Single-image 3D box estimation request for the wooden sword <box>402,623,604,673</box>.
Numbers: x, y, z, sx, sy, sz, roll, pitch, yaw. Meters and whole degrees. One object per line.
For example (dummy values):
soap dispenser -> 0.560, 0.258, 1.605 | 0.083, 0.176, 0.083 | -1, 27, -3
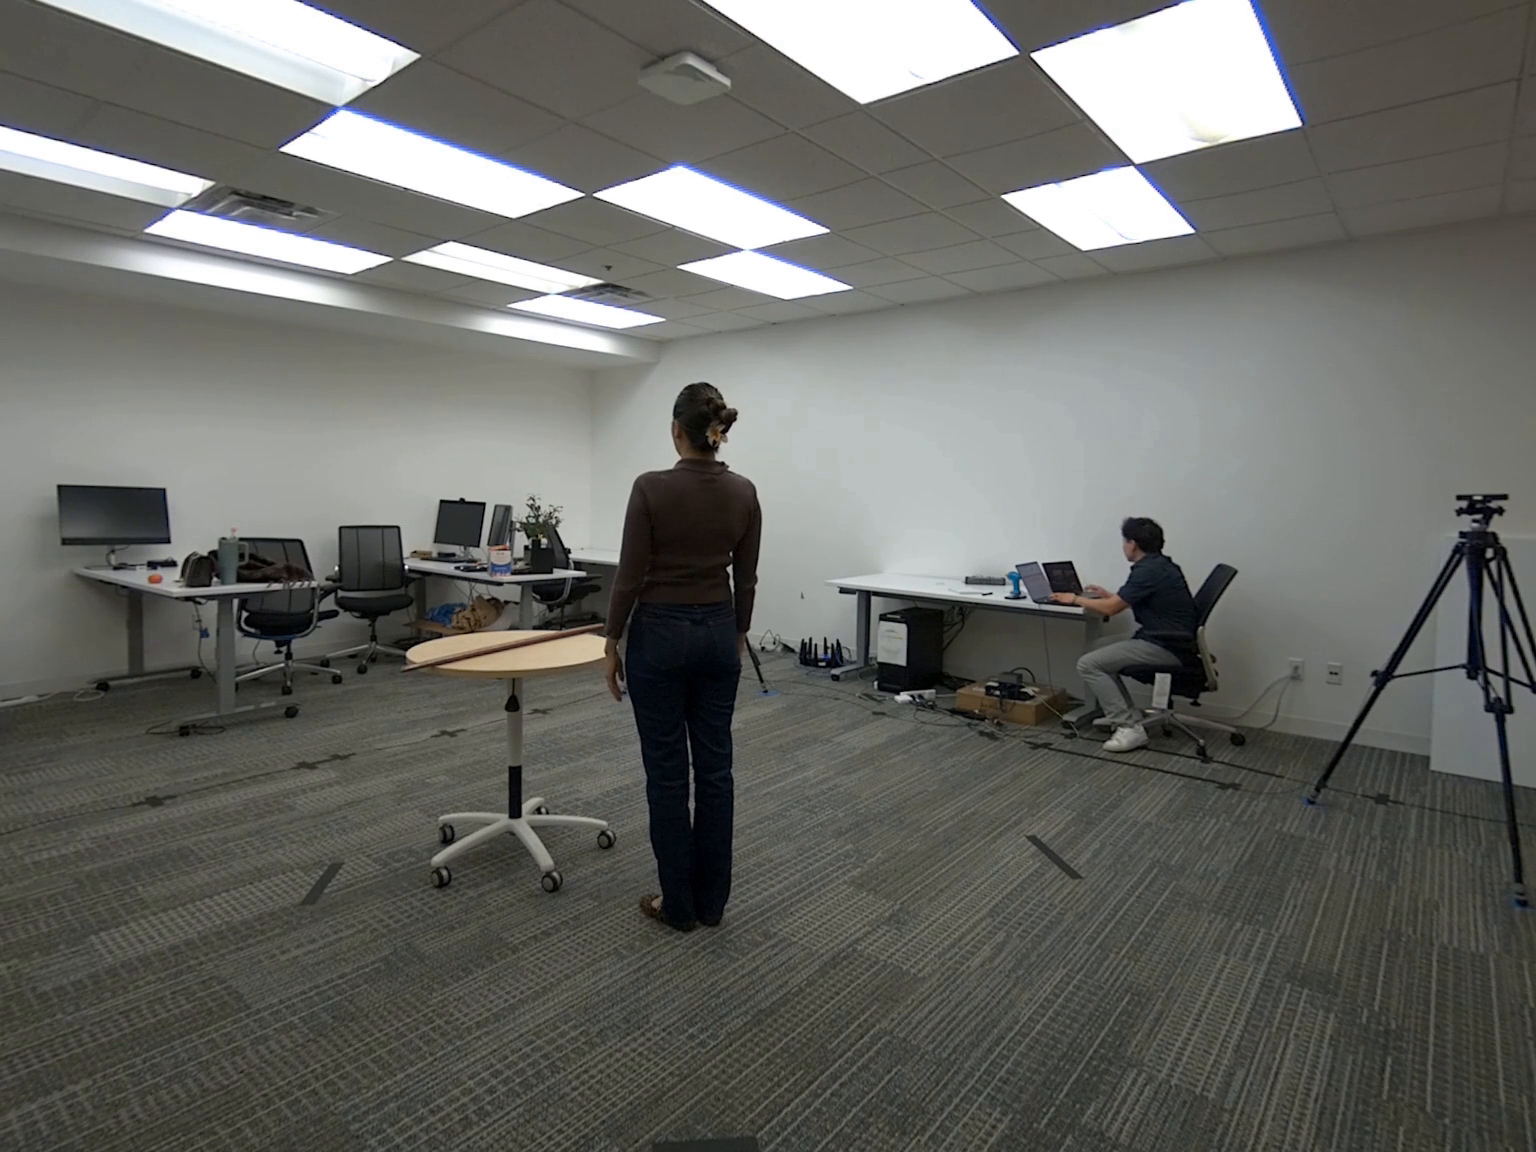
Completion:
wooden sword -> -0.961, 0.261, 3.207 | 0.024, 0.052, 1.000 | -36, -11, 26
